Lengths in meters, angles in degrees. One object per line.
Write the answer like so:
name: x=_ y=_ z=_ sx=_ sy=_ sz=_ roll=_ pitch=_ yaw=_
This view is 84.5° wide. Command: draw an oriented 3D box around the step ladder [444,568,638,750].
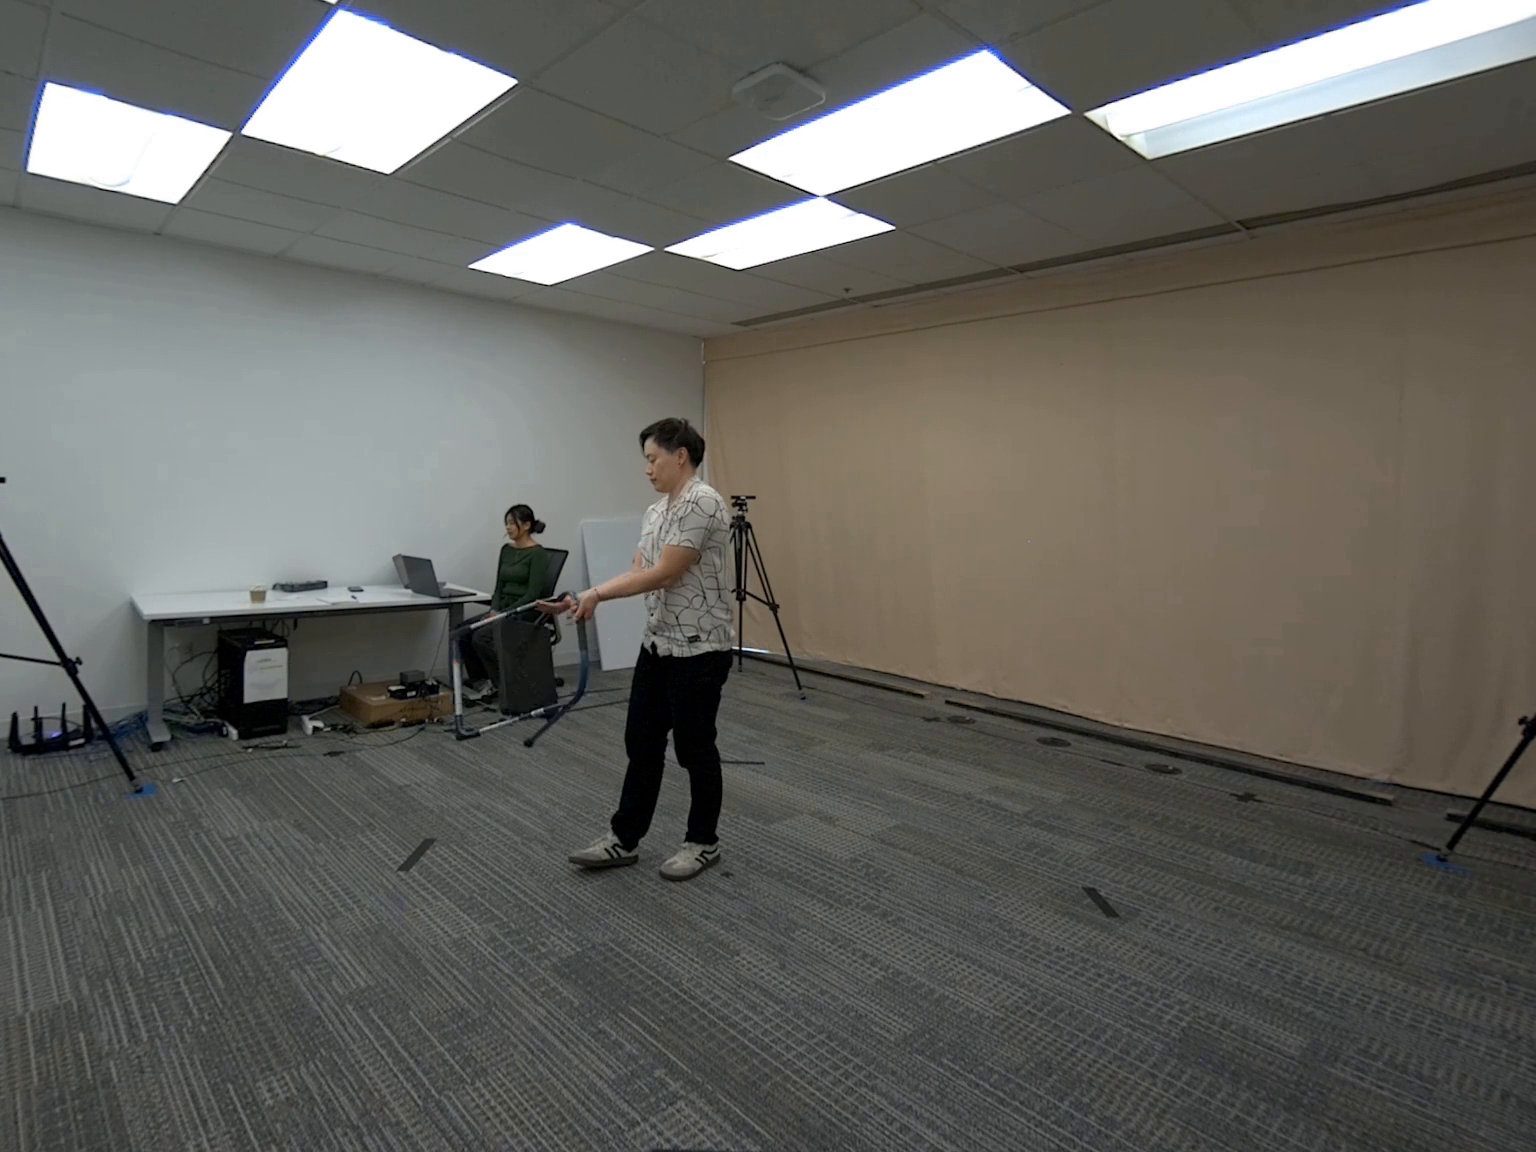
step ladder: x=-0.813 y=0.318 z=3.033 sx=0.611 sy=0.439 sz=0.339 roll=-28 pitch=-26 yaw=30
